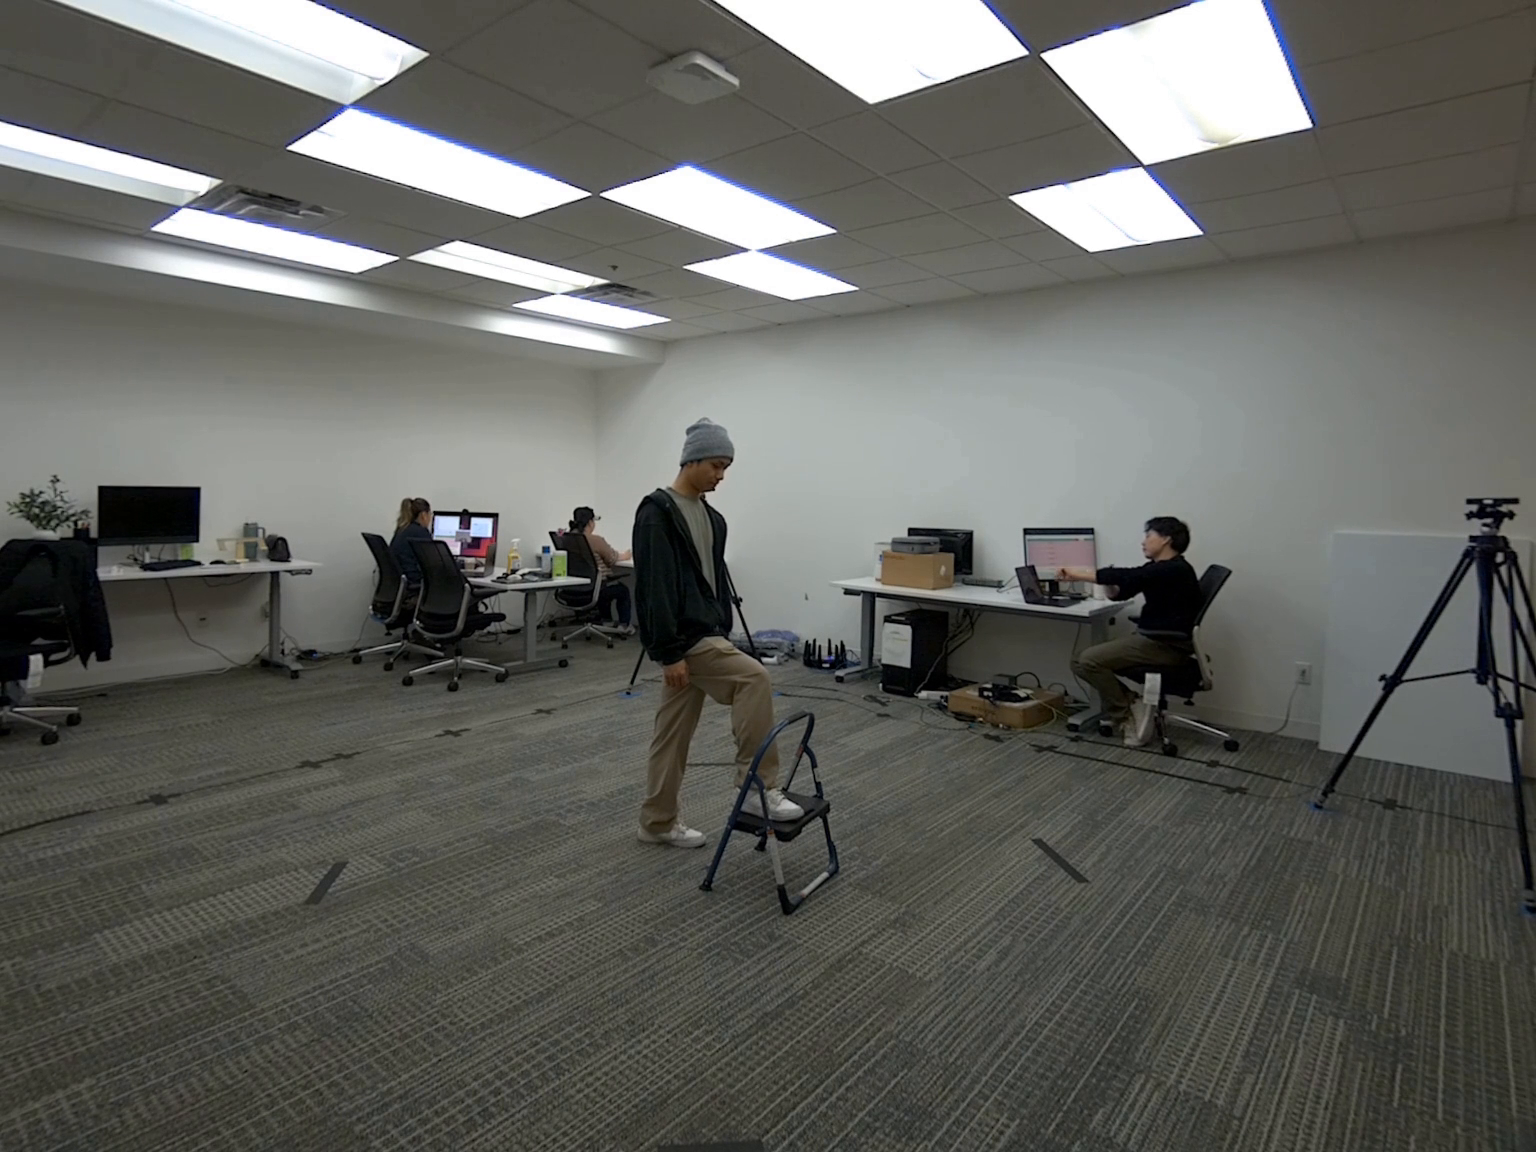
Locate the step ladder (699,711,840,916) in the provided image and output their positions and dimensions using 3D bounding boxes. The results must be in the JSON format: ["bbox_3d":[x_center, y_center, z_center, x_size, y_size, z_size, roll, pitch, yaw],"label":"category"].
[{"bbox_3d":[0.015,0.777,3.016,0.359,0.604,0.420,3,4,29],"label":"step ladder"}]
